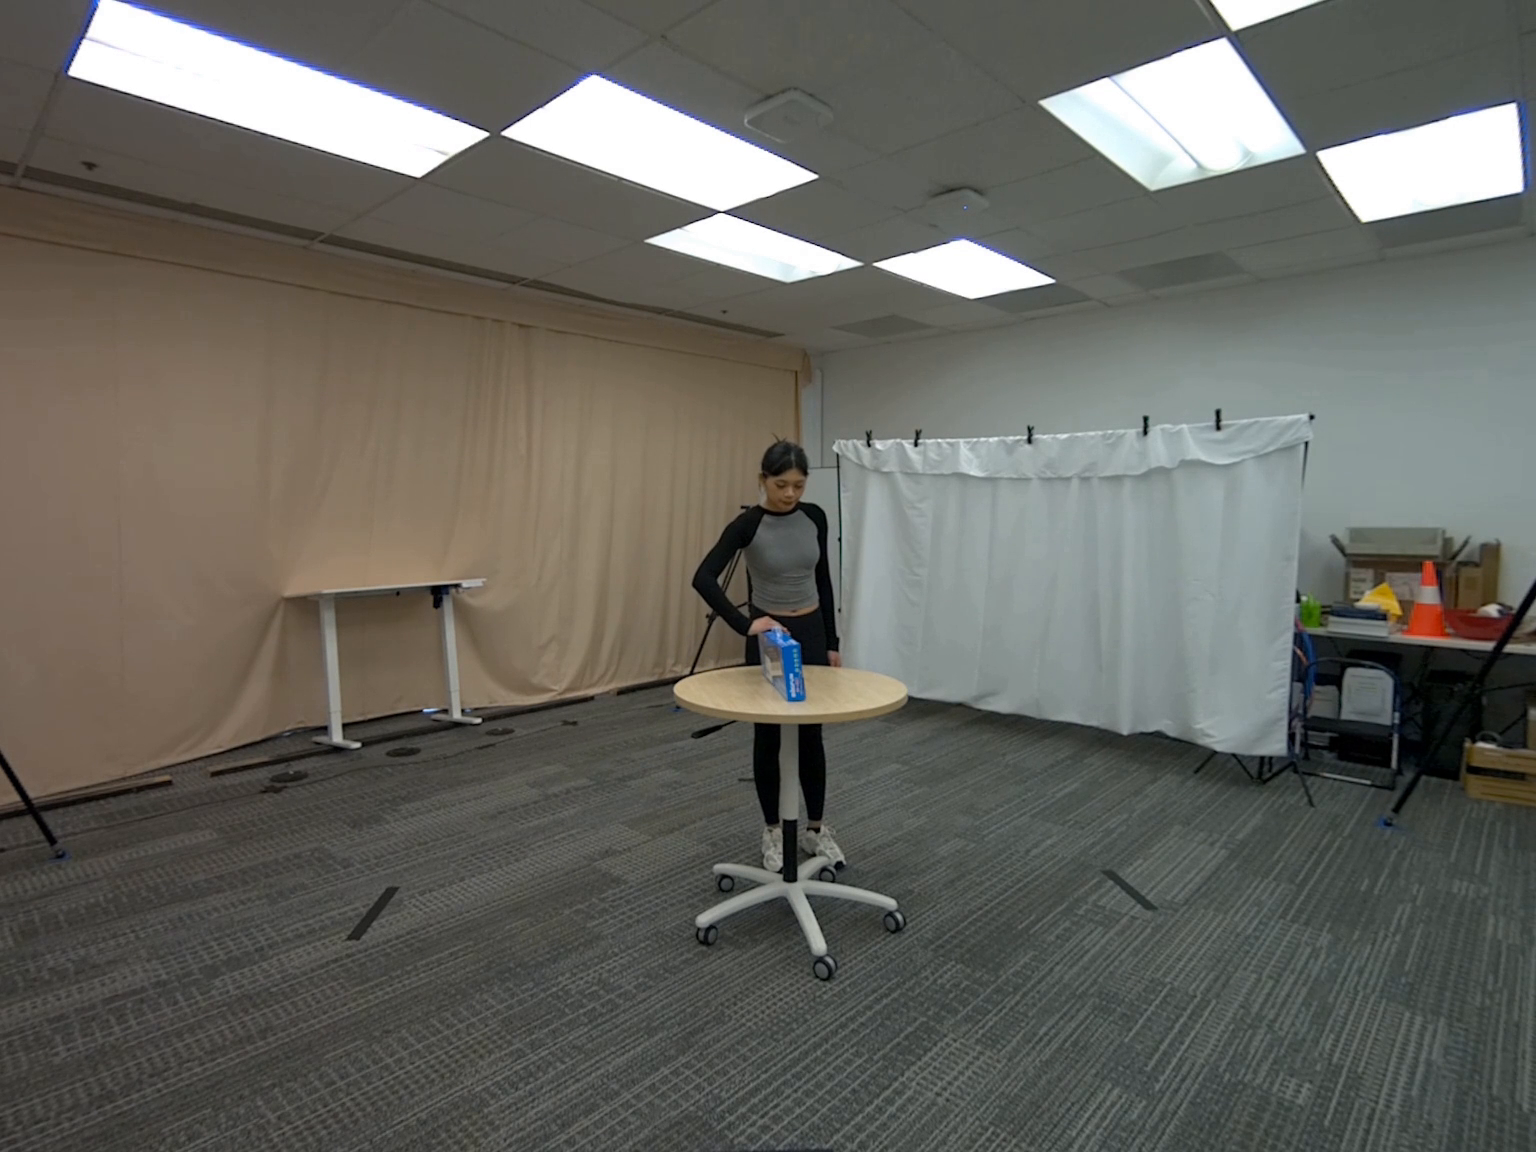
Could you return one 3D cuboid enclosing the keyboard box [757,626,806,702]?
[{"bbox_3d":[0.041,0.281,2.778,0.058,0.175,0.441,-4,5,-9],"label":"keyboard box"}]
